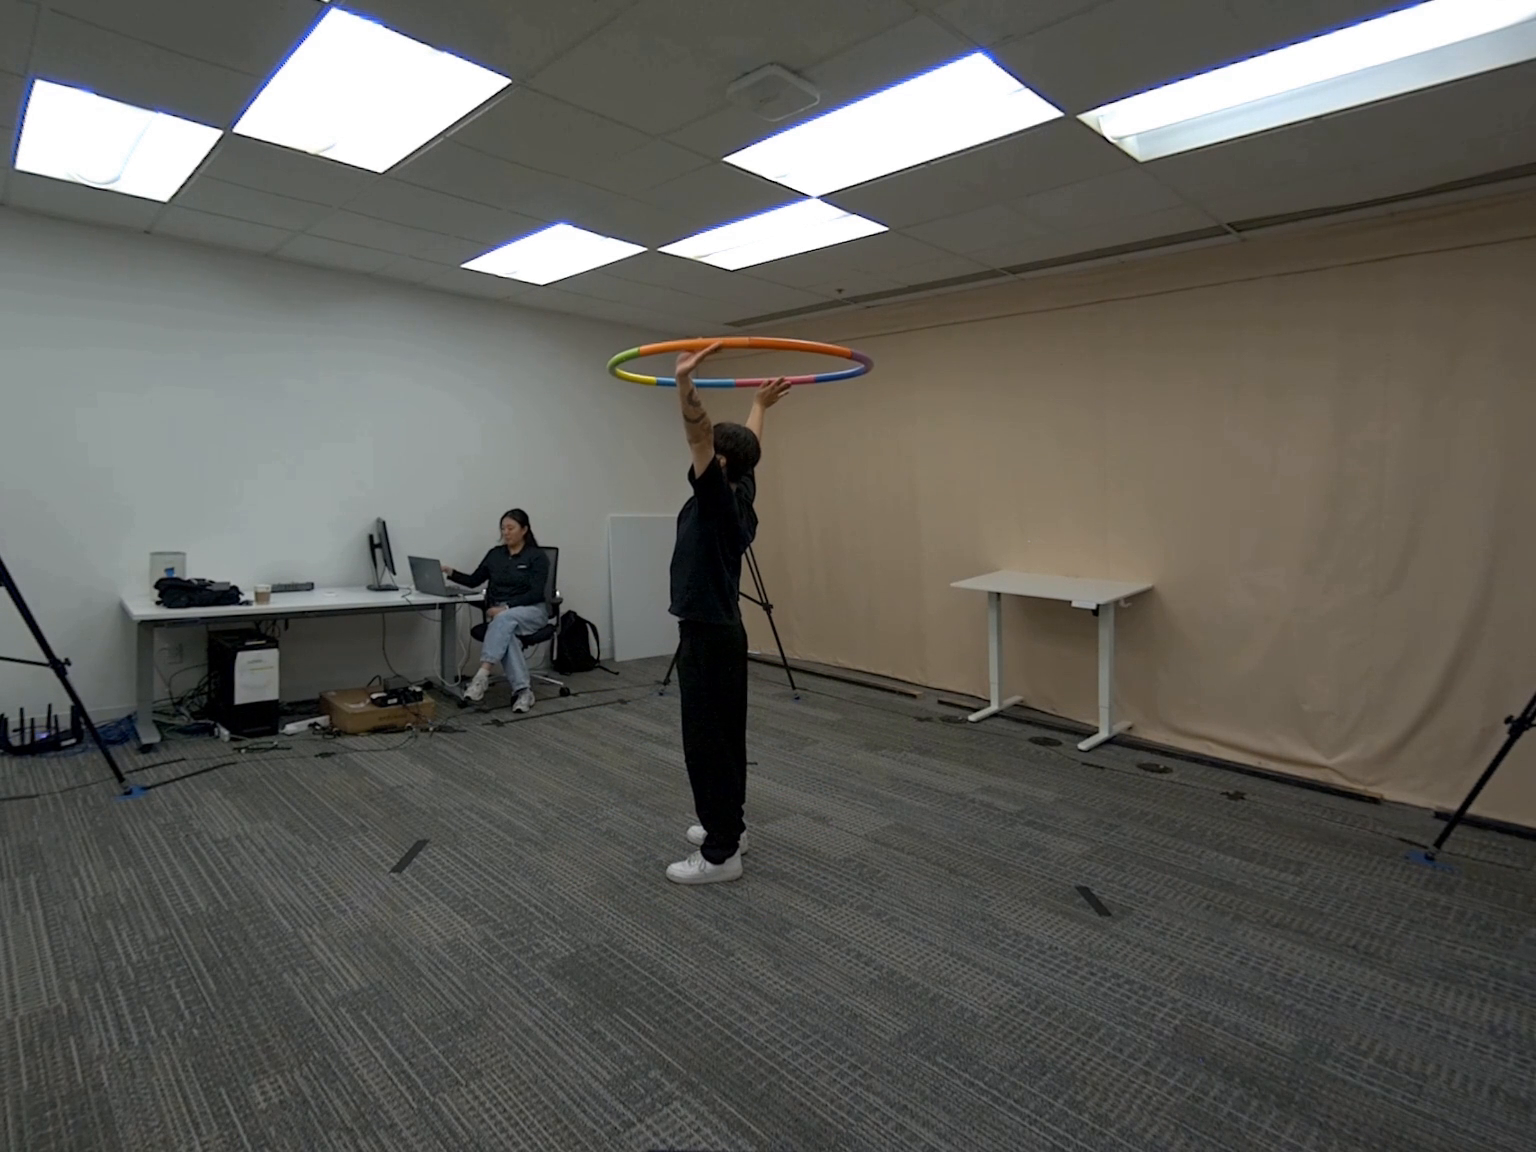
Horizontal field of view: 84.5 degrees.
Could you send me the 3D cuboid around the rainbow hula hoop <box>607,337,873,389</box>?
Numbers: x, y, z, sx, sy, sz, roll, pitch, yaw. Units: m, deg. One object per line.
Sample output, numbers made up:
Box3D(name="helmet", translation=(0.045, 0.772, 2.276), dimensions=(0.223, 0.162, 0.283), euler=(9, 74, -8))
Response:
Box3D(name="rainbow hula hoop", translation=(-0.112, -0.764, 3.100), dimensions=(0.978, 0.035, 0.982), euler=(-1, 5, -1))
